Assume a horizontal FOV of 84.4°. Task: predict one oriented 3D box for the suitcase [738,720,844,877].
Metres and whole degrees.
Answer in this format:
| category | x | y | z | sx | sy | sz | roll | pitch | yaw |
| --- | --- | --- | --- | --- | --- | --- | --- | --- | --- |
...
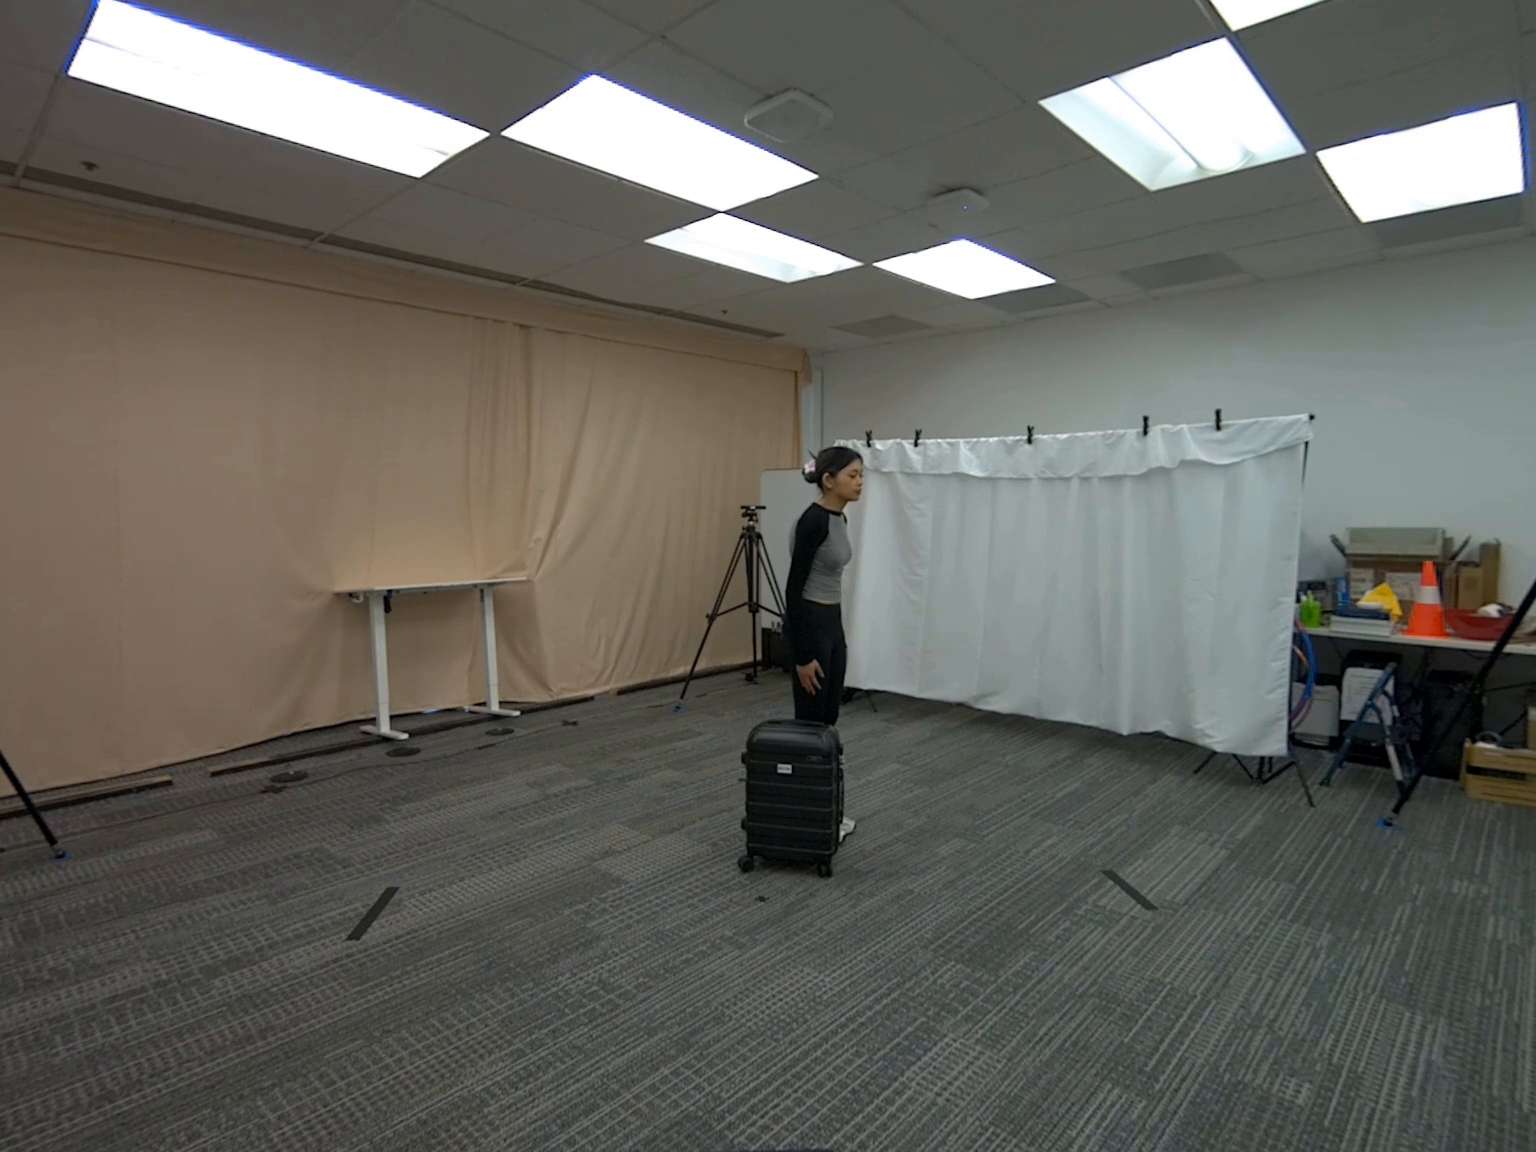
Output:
| category | x | y | z | sx | sy | sz | roll | pitch | yaw |
| --- | --- | --- | --- | --- | --- | --- | --- | --- | --- |
| suitcase | 0.097 | 0.841 | 3.268 | 0.381 | 0.548 | 0.245 | 3 | 5 | 14 |
